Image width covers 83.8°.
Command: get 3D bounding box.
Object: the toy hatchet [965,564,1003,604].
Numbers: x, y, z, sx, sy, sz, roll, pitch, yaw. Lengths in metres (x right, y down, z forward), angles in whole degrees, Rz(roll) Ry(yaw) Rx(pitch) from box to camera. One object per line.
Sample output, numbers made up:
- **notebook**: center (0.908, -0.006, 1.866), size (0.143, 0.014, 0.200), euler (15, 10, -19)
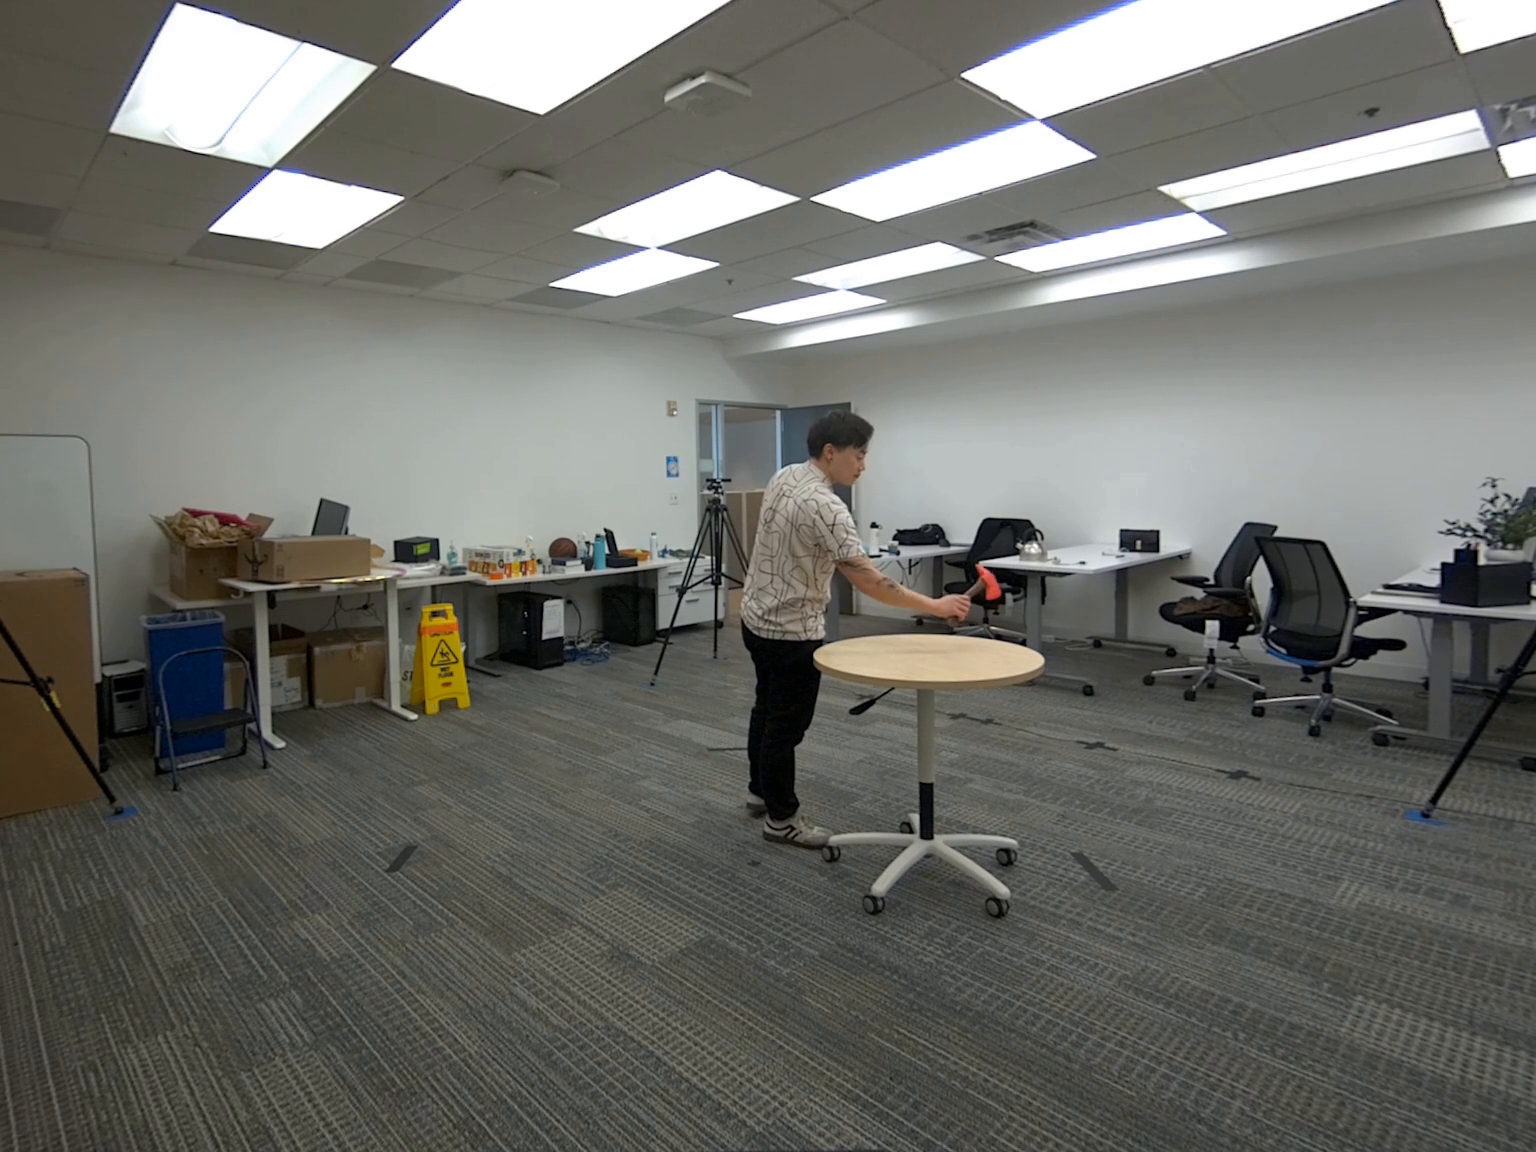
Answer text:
- **toy hatchet**: center (0.724, 0.091, 2.985), size (0.129, 0.271, 0.030), euler (38, -18, -10)
